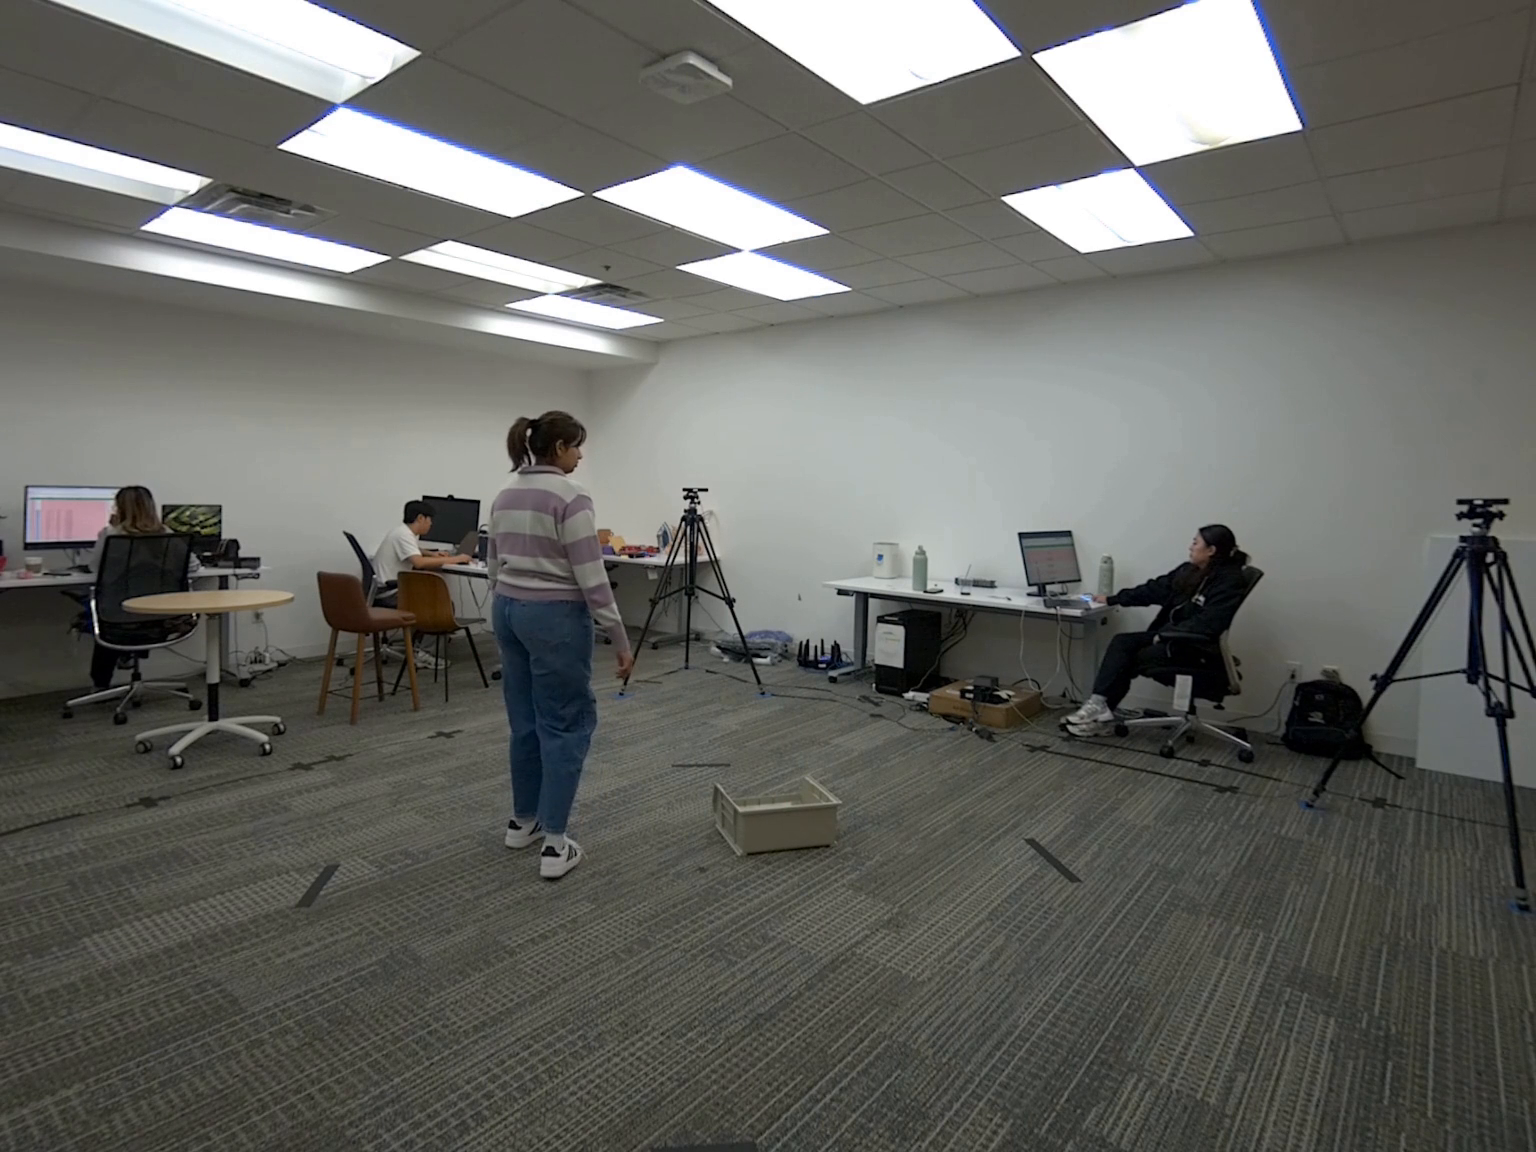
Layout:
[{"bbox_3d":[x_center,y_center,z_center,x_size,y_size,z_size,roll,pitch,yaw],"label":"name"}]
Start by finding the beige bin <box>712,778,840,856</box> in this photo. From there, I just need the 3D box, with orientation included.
[{"bbox_3d":[0.016,0.954,3.436,0.414,0.188,0.386,0,6,-19],"label":"beige bin"}]
